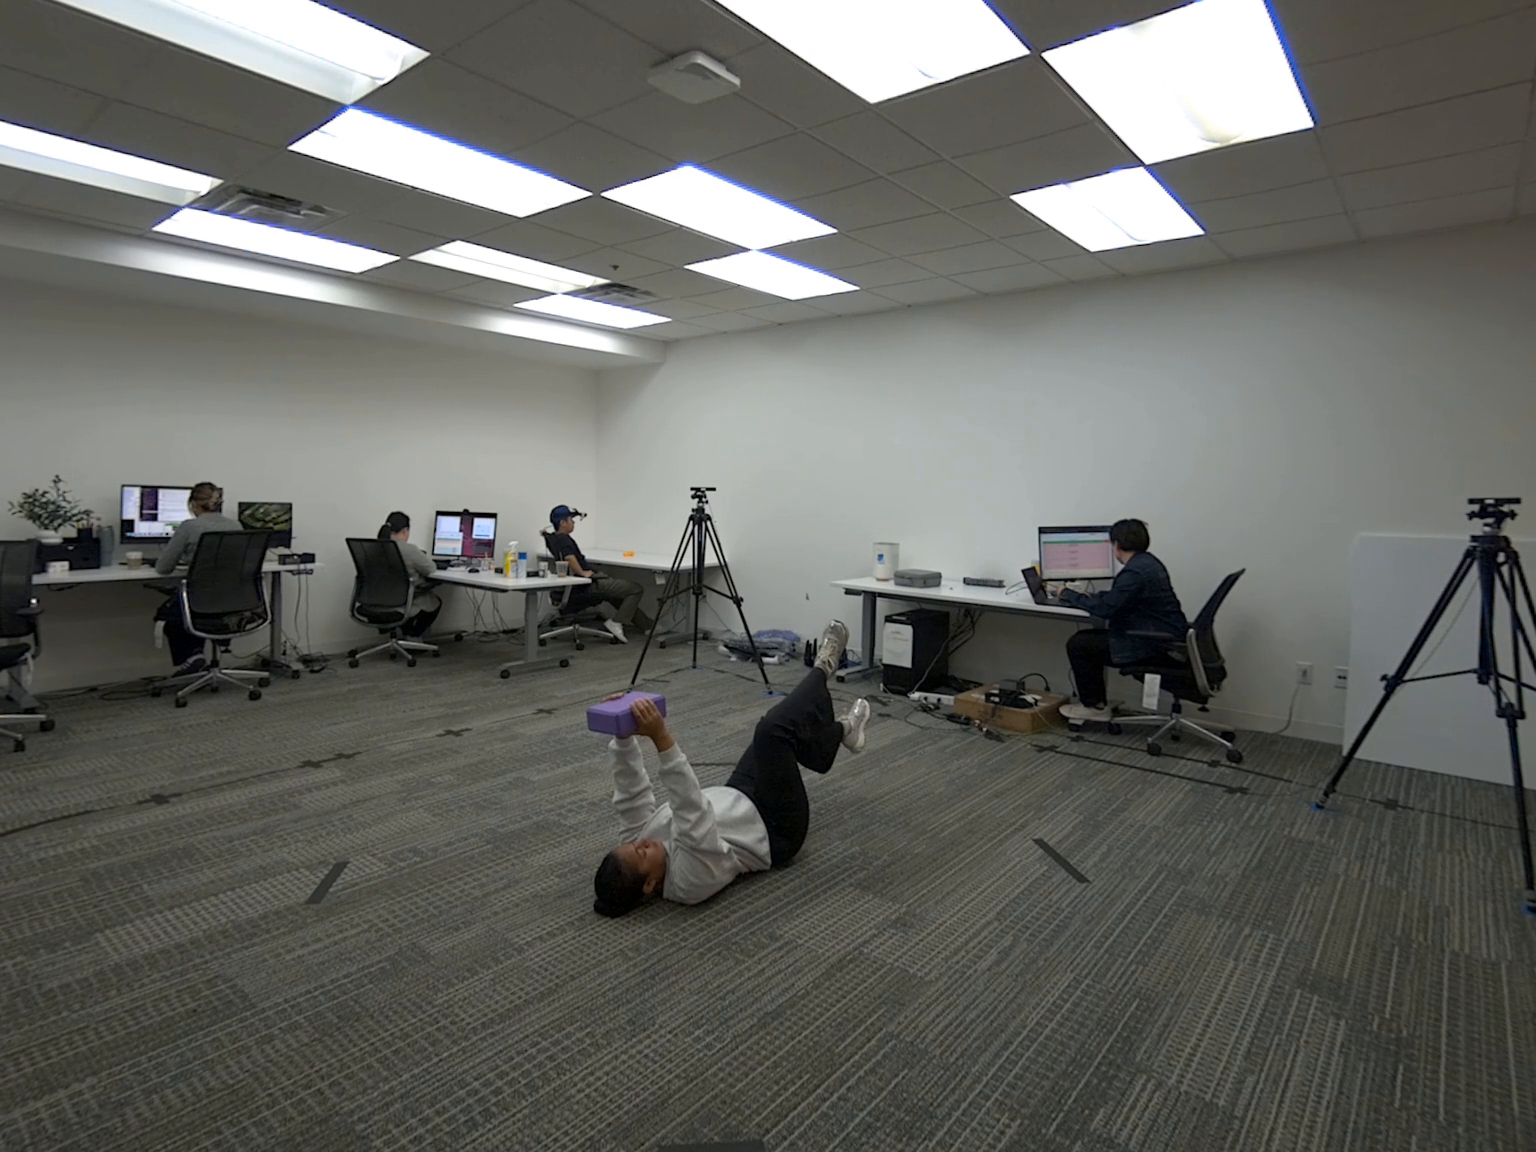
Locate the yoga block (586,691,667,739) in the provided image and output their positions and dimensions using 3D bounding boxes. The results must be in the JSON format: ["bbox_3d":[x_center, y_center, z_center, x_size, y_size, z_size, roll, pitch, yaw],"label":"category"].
[{"bbox_3d":[-0.471,0.445,2.769,0.153,0.076,0.224,0,9,36],"label":"yoga block"}]
